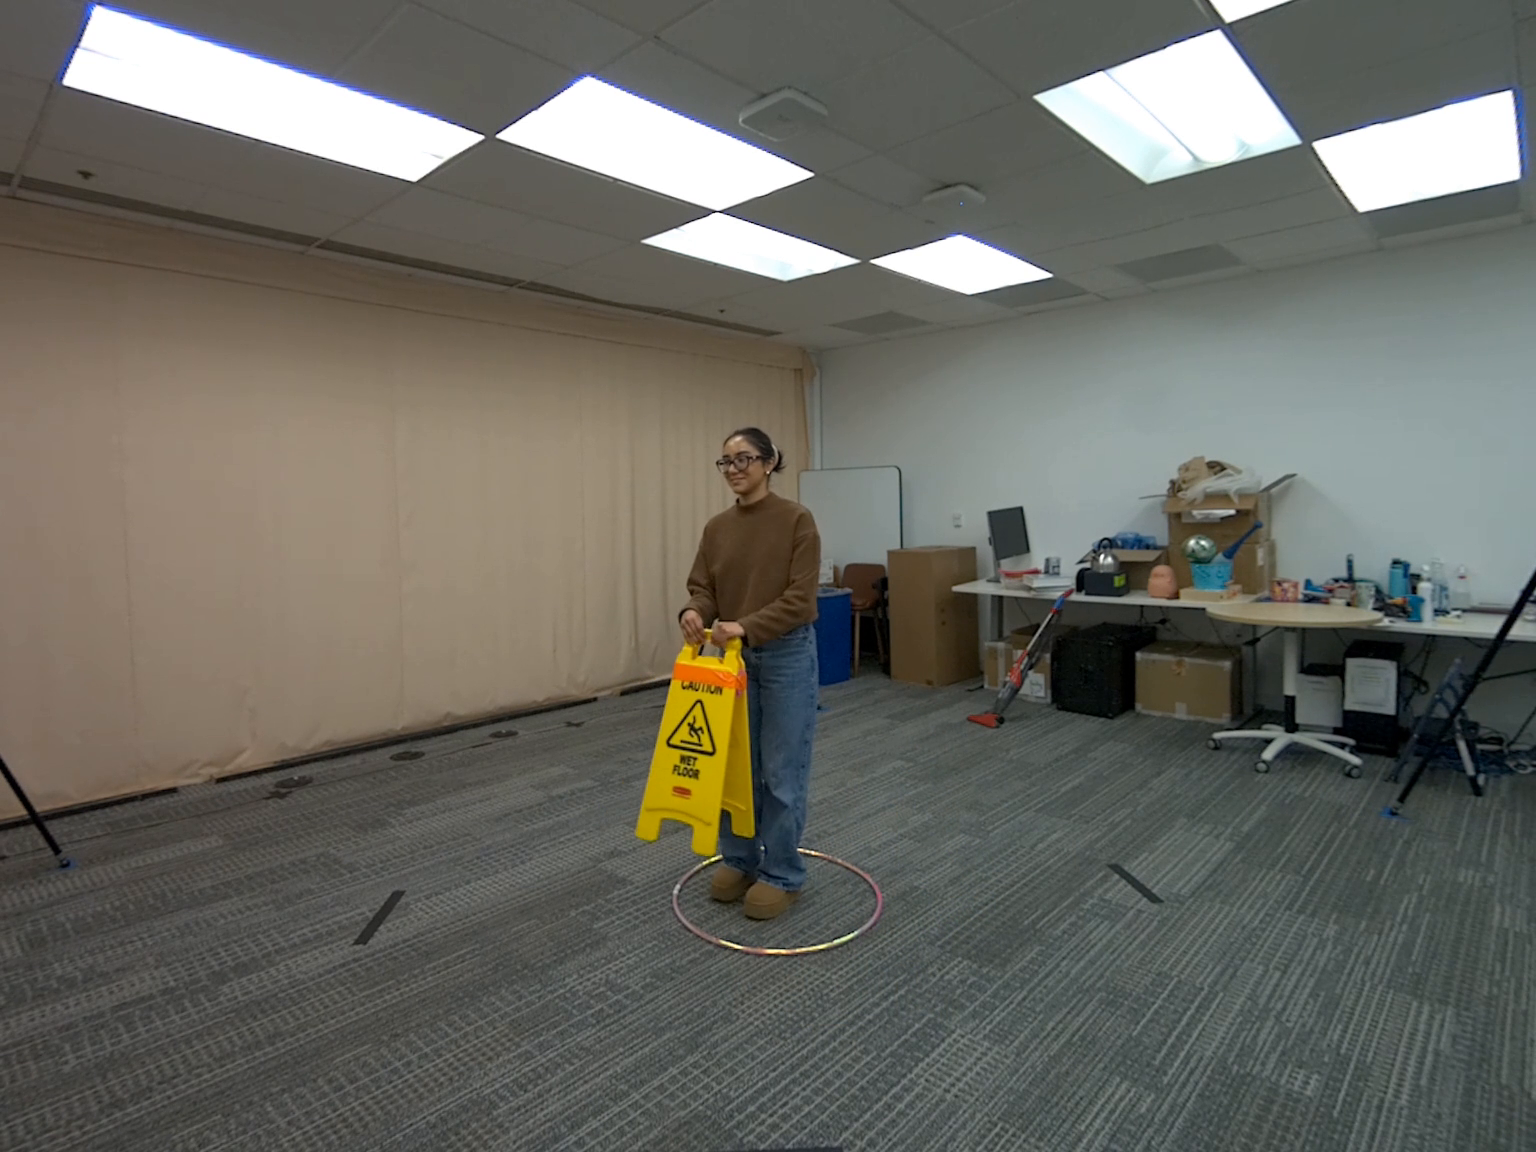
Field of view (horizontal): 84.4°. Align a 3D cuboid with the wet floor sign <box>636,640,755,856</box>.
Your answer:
[{"bbox_3d":[-0.199,0.499,2.665,0.290,0.647,0.281,2,-3,28],"label":"wet floor sign"}]
